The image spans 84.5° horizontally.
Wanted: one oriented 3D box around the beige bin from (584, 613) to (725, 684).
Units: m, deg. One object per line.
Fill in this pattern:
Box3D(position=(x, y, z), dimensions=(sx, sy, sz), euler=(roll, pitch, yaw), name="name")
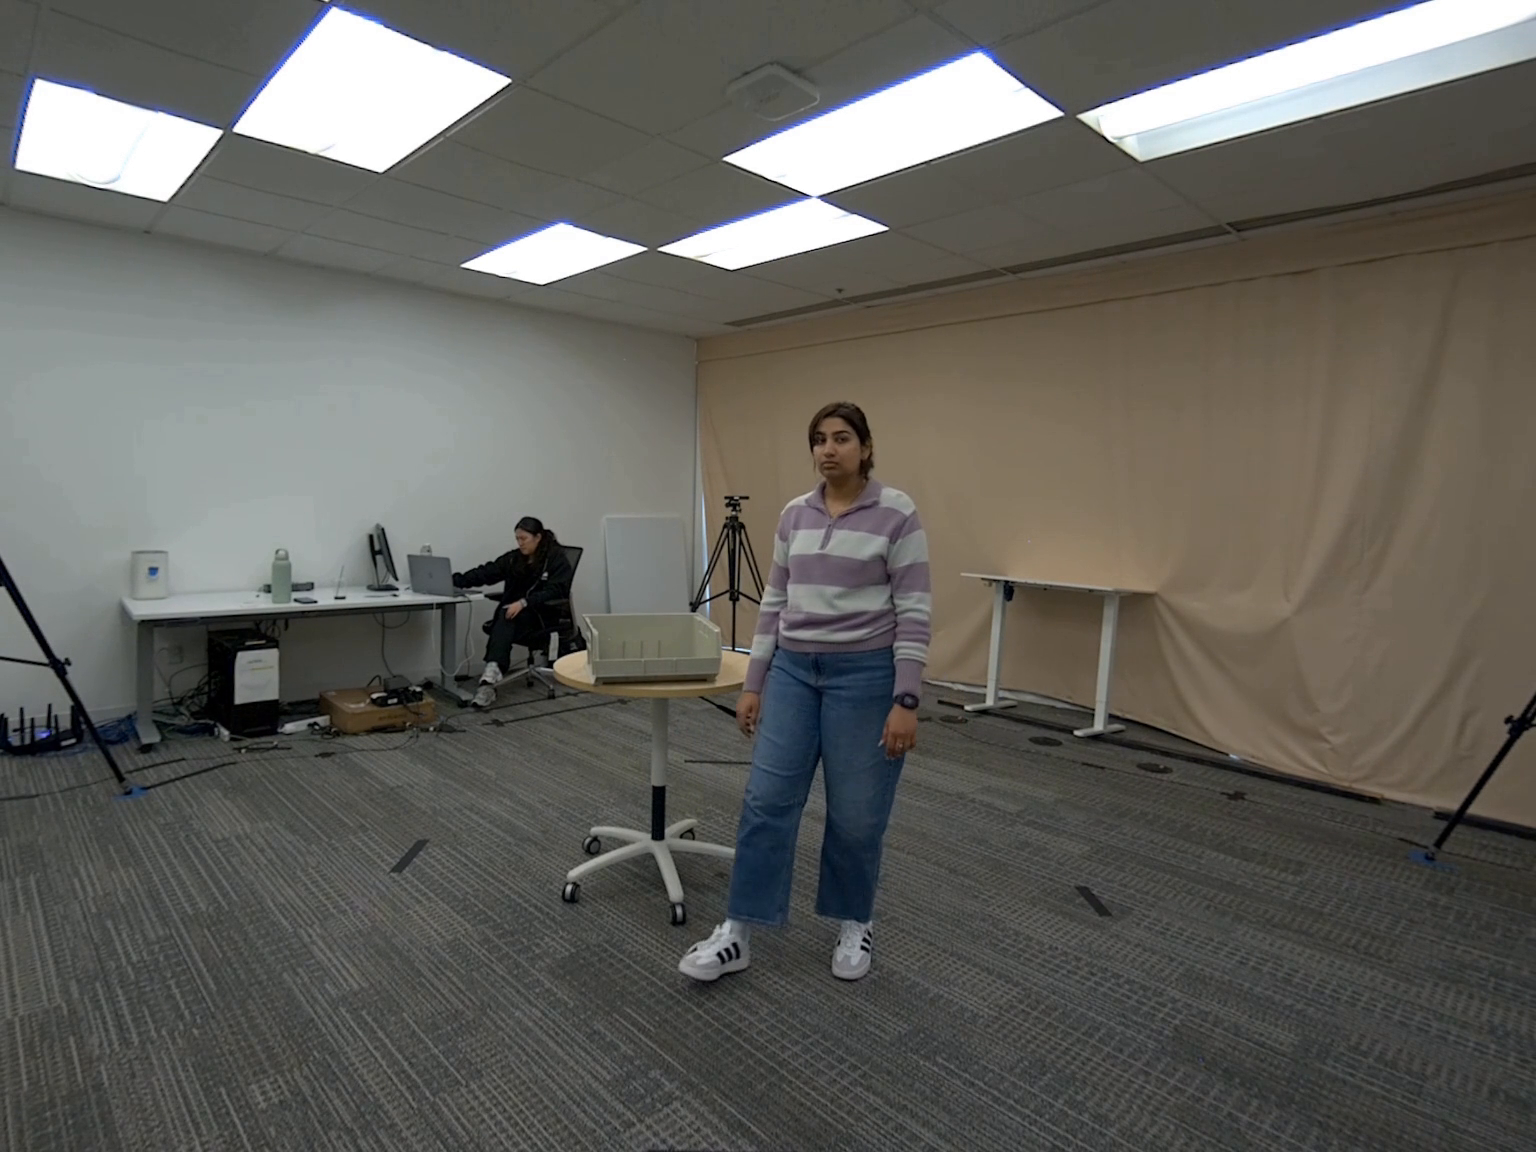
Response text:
Box3D(position=(-0.407, 0.249, 2.868), dimensions=(0.417, 0.188, 0.383), euler=(0, 5, -16), name="beige bin")
